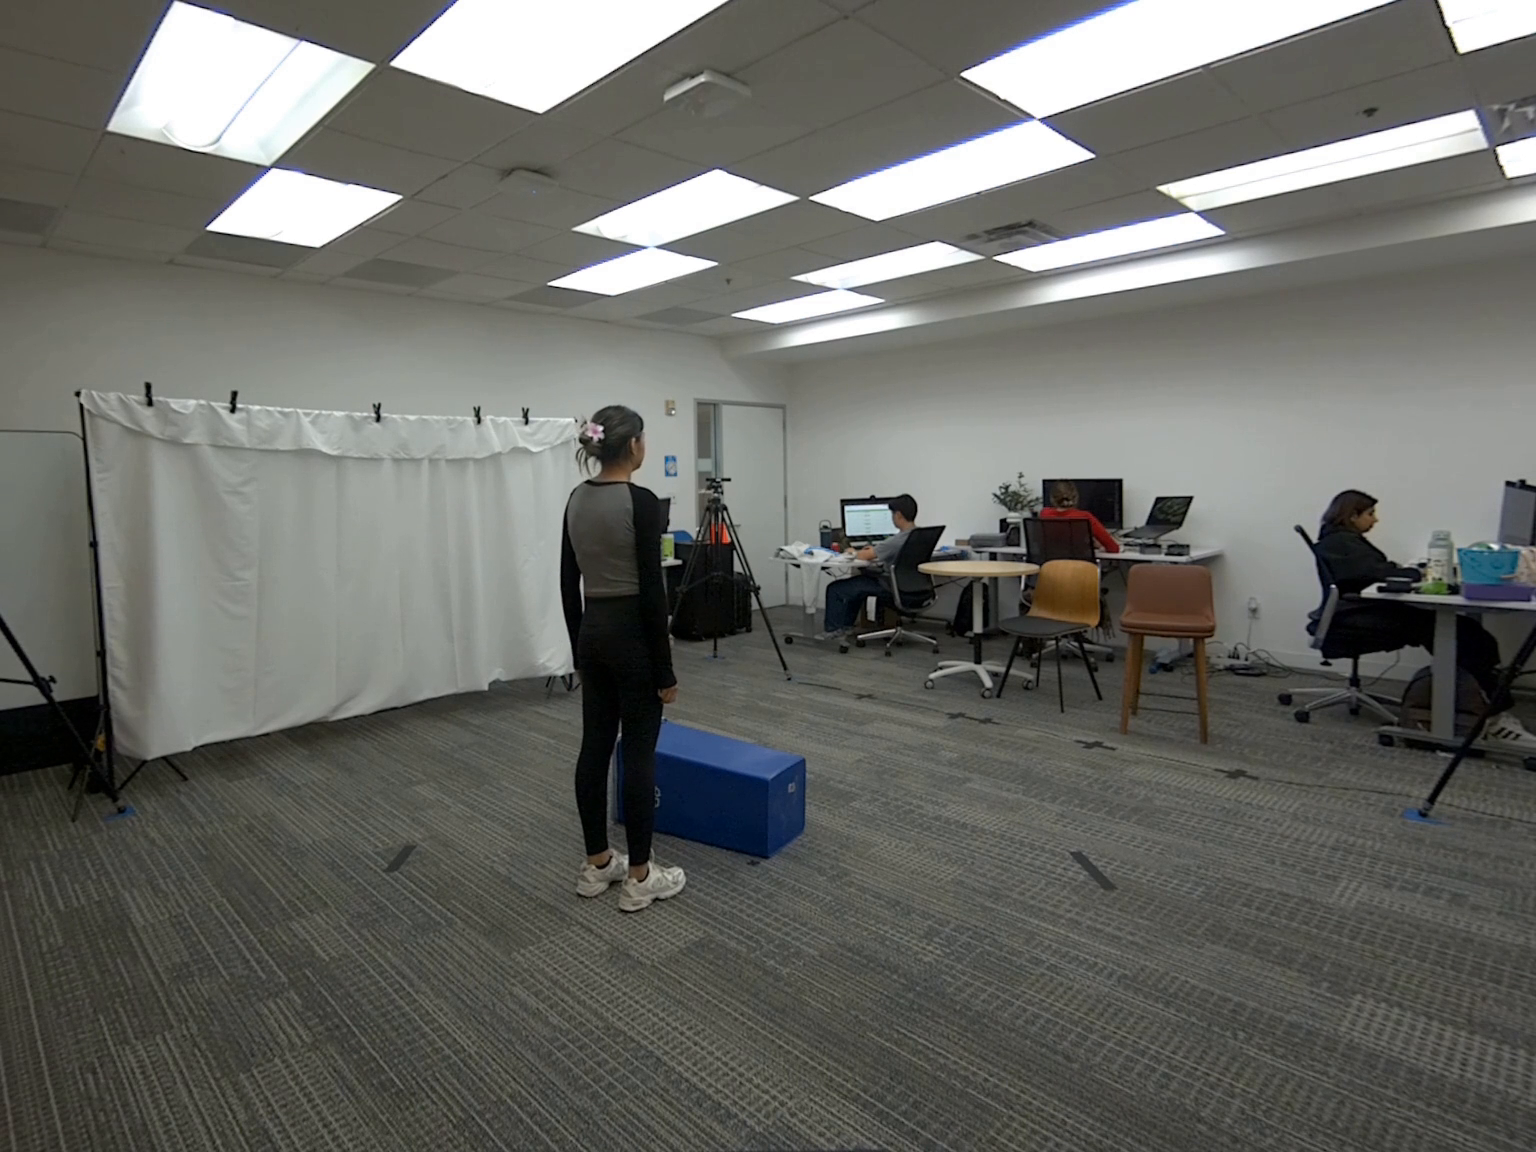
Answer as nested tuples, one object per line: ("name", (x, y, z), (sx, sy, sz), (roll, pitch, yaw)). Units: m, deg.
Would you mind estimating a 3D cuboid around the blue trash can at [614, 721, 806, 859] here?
("blue trash can", (-0.234, 0.839, 3.423), (0.734, 0.376, 0.365), (4, 6, 32))
